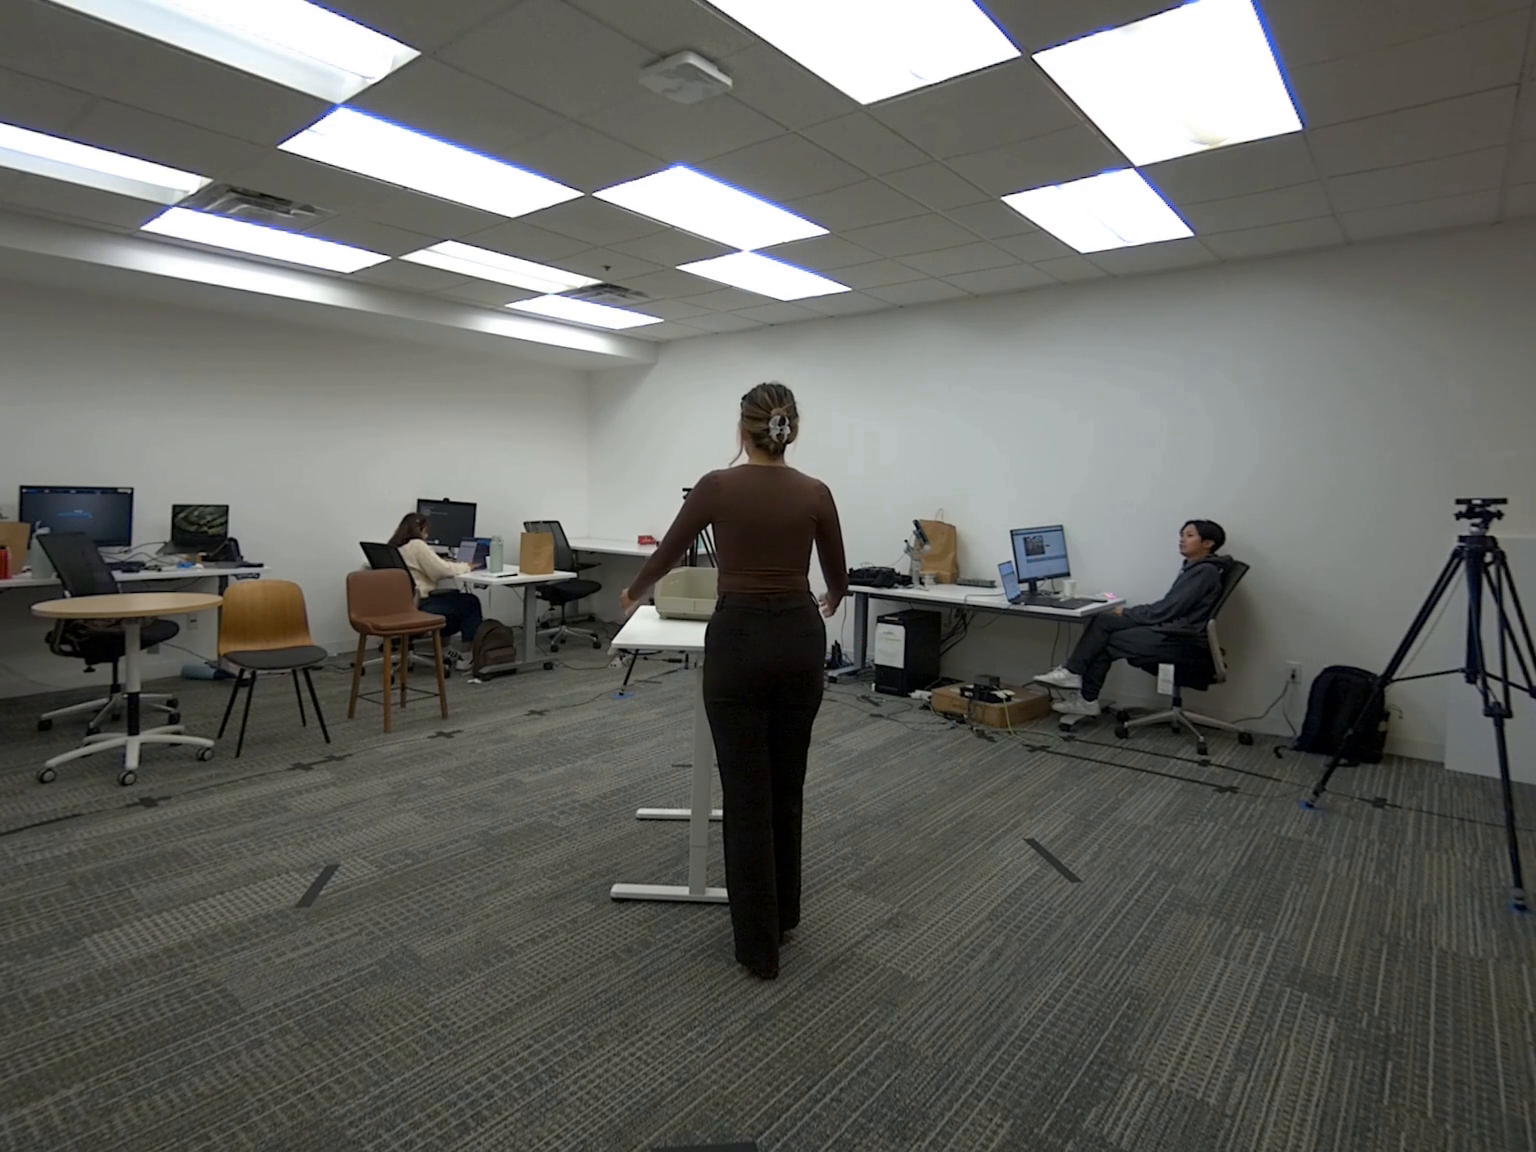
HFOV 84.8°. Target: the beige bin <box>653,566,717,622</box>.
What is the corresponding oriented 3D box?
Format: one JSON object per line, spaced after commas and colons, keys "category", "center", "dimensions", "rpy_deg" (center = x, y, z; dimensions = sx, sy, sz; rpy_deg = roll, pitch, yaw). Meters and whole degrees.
{"category": "beige bin", "center": [-0.205, 0.075, 3.373], "dimensions": [0.429, 0.188, 0.372], "rpy_deg": [3, 4, 14]}
